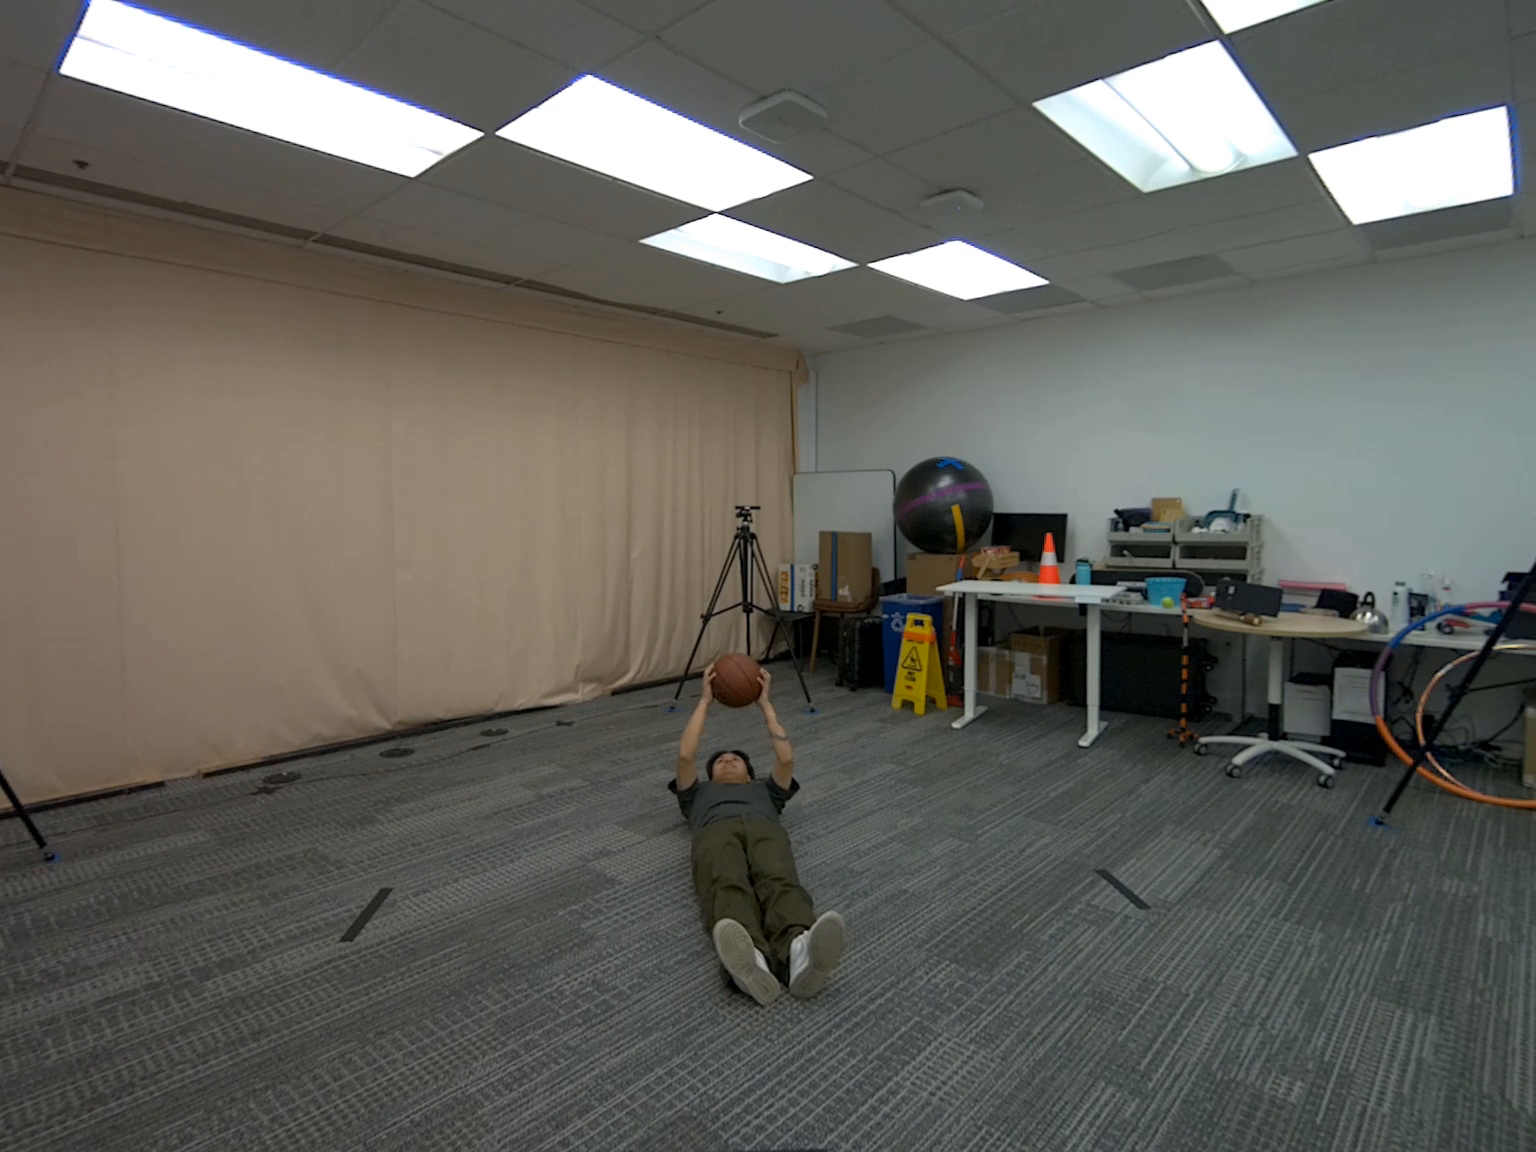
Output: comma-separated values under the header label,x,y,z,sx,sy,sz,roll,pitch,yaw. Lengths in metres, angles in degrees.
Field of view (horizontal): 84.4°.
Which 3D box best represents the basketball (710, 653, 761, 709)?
label,x,y,z,sx,sy,sz,roll,pitch,yaw
basketball,-0.138,0.468,3.680,0.236,0.235,0.237,0,4,-2
